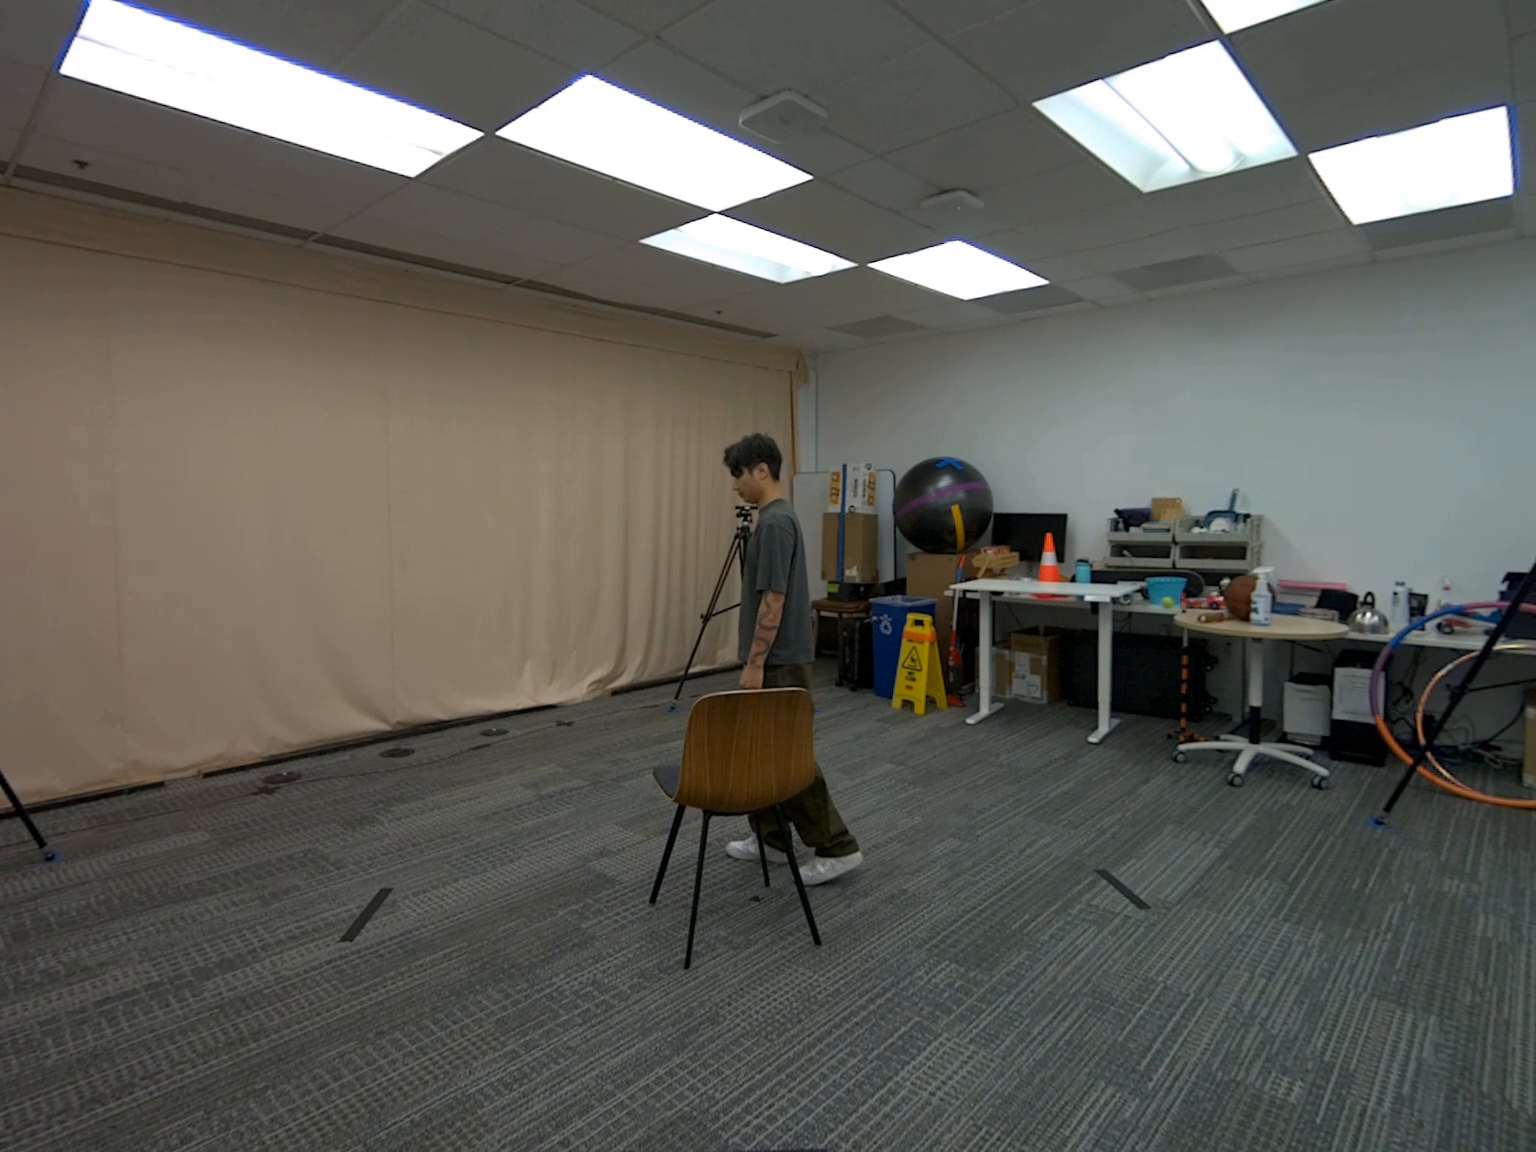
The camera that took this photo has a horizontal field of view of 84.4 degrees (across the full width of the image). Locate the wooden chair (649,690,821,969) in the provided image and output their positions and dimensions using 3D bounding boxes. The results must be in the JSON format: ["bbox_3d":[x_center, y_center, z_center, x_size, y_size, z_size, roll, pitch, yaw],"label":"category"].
[{"bbox_3d":[-0.127,0.732,2.786,0.469,0.873,0.536,-1,8,-20],"label":"wooden chair"}]
